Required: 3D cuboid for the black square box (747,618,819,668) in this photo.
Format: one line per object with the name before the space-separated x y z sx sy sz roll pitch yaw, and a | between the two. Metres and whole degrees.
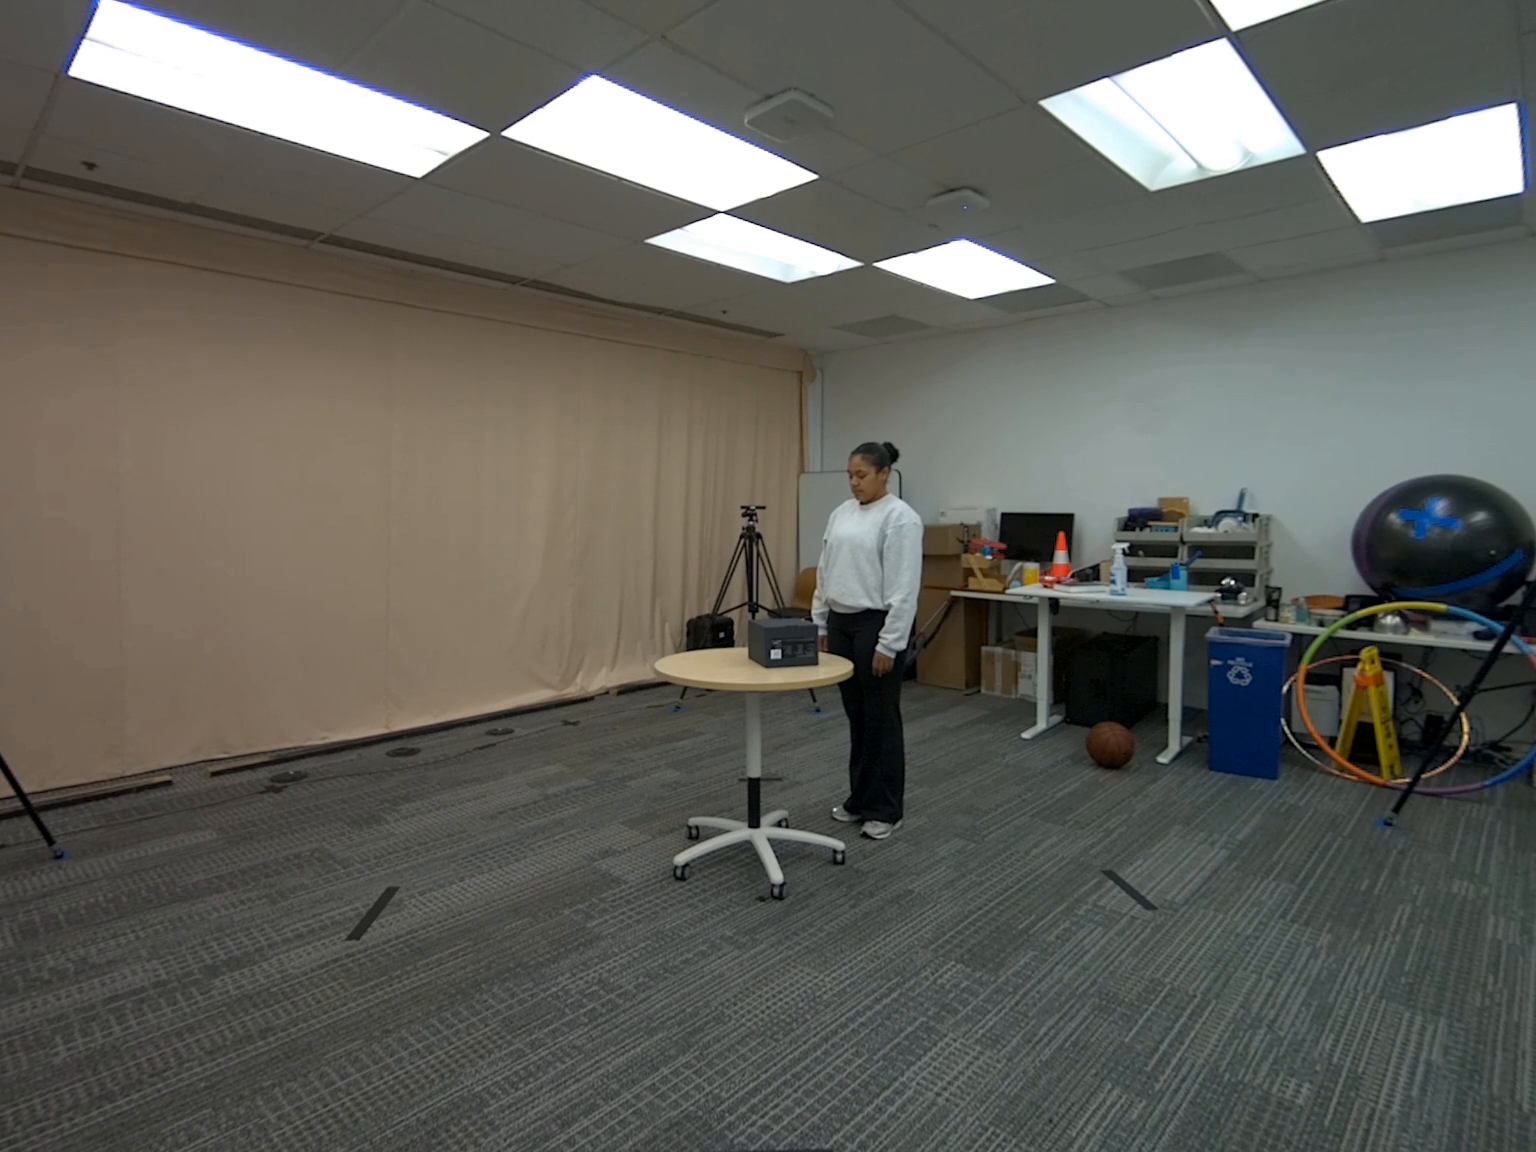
black square box | 0.059 0.254 3.282 0.214 0.155 0.232 -2 3 -16
